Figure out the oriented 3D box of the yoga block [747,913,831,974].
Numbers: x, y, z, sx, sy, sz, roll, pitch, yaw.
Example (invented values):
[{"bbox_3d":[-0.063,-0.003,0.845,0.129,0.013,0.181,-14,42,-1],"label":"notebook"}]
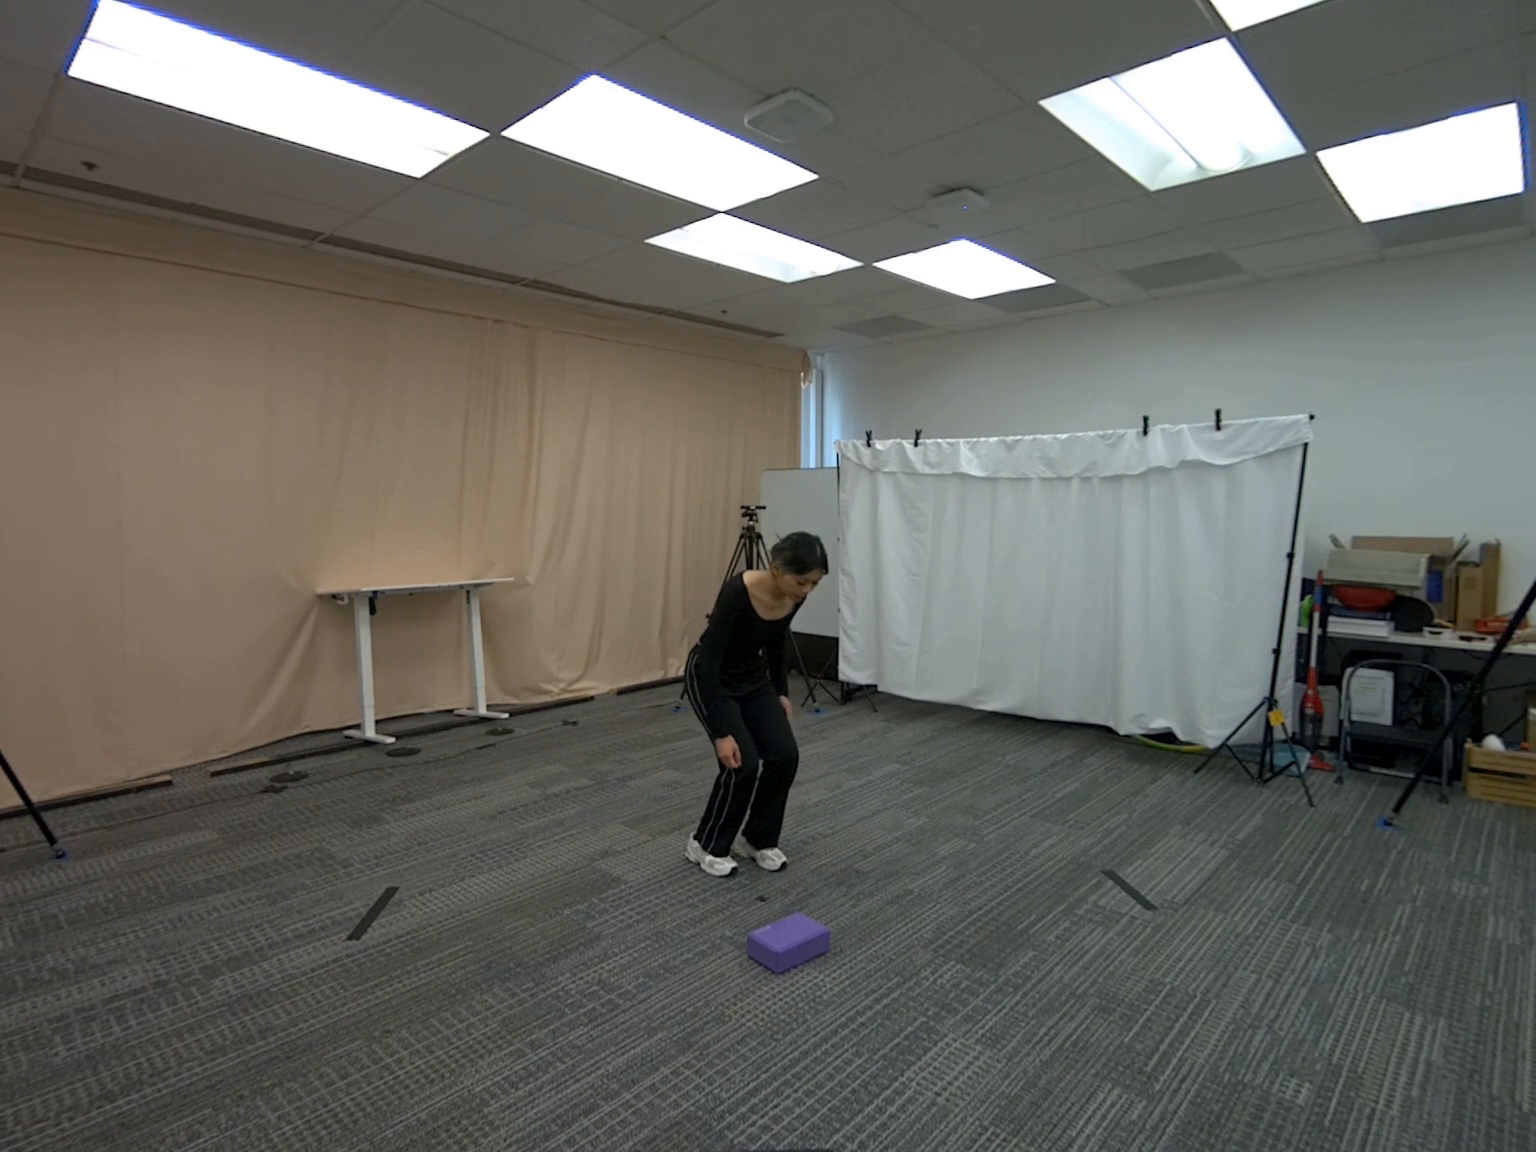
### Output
[{"bbox_3d":[0.070,1.133,2.613,0.222,0.076,0.154,-4,6,-41],"label":"yoga block"}]
